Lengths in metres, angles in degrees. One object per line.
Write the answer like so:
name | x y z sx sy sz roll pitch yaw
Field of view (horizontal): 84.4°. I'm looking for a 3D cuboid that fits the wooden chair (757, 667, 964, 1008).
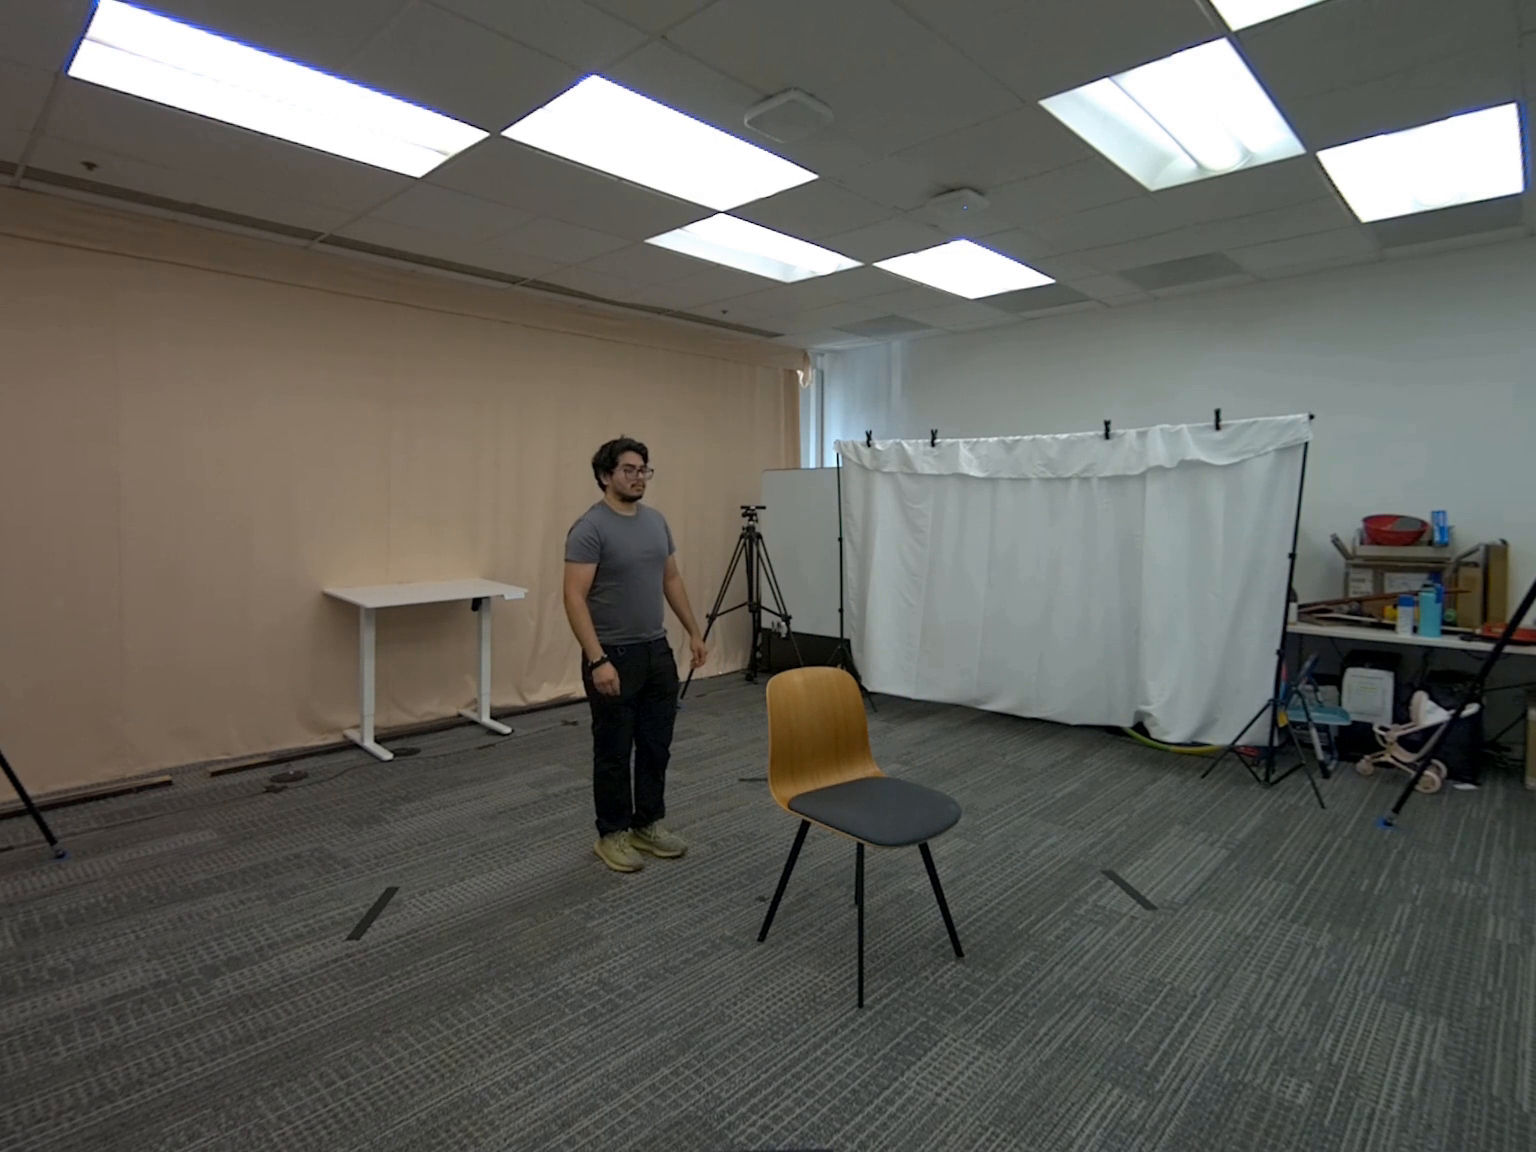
wooden chair | 0.291 0.748 2.605 0.464 0.877 0.539 -3 0 -38
